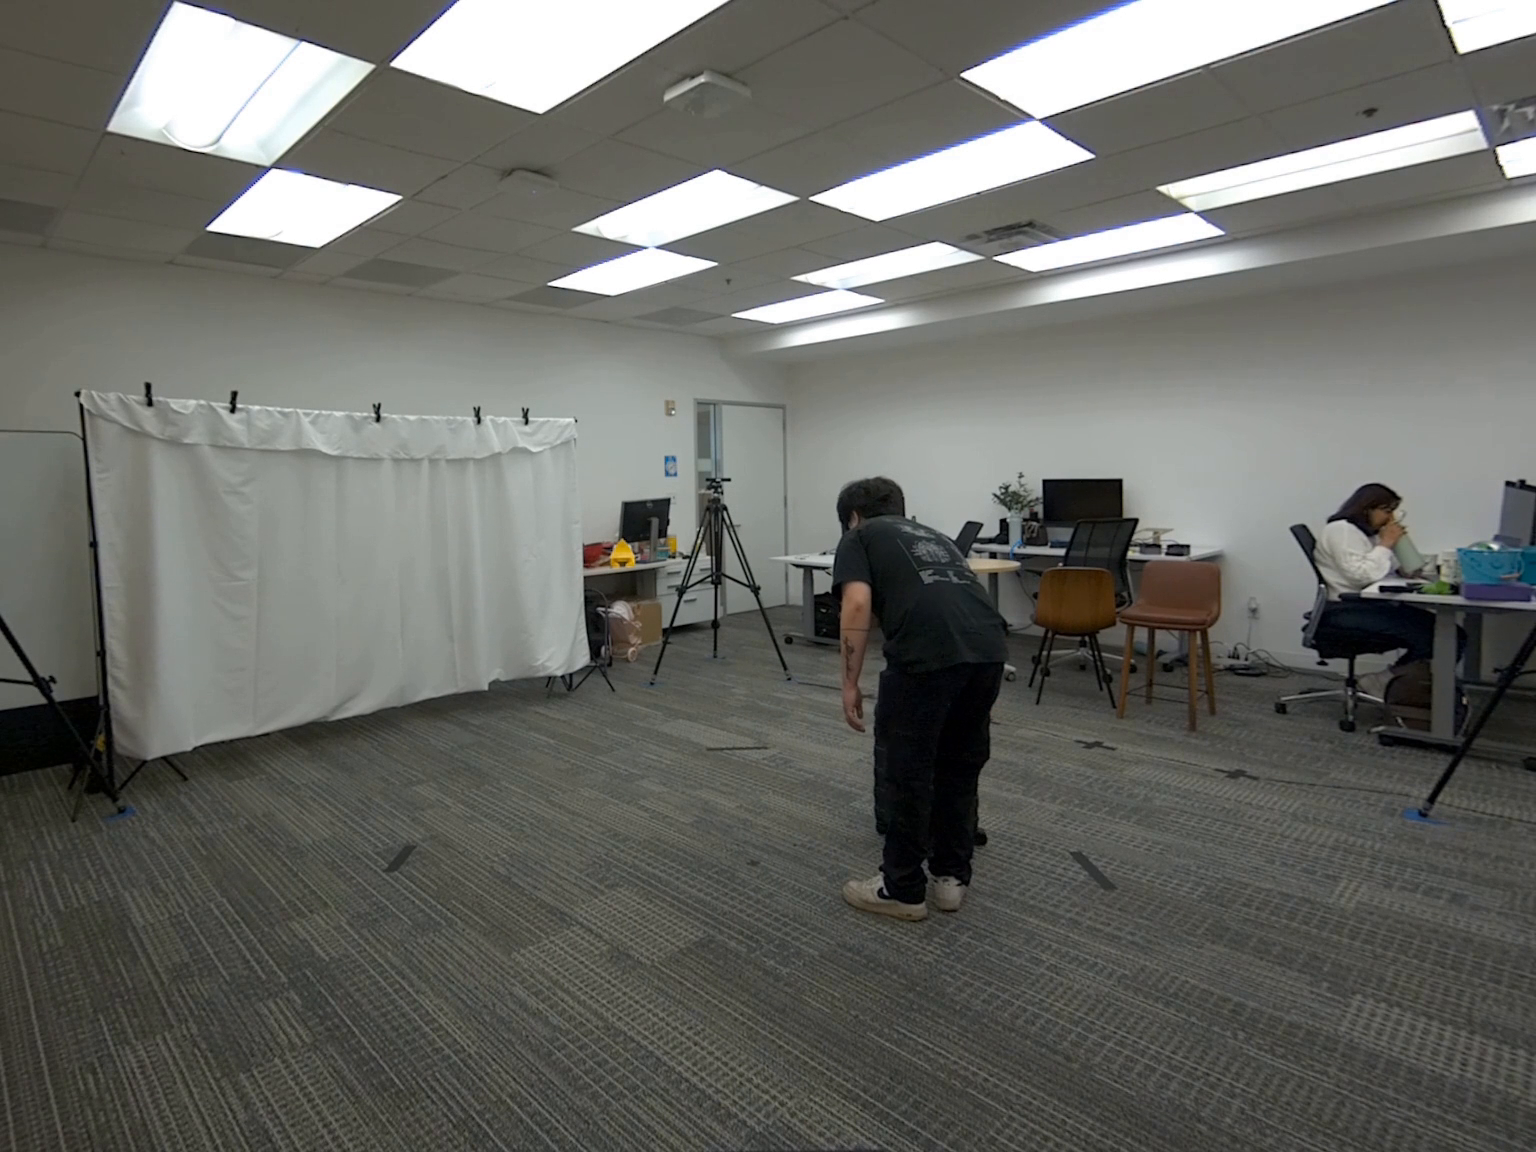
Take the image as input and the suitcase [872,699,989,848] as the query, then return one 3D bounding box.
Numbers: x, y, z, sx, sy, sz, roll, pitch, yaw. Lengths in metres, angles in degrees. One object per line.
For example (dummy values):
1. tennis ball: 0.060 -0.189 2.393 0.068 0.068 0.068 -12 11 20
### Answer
1. suitcase: 0.608 0.737 3.277 0.242 0.547 0.386 -4 5 -36
